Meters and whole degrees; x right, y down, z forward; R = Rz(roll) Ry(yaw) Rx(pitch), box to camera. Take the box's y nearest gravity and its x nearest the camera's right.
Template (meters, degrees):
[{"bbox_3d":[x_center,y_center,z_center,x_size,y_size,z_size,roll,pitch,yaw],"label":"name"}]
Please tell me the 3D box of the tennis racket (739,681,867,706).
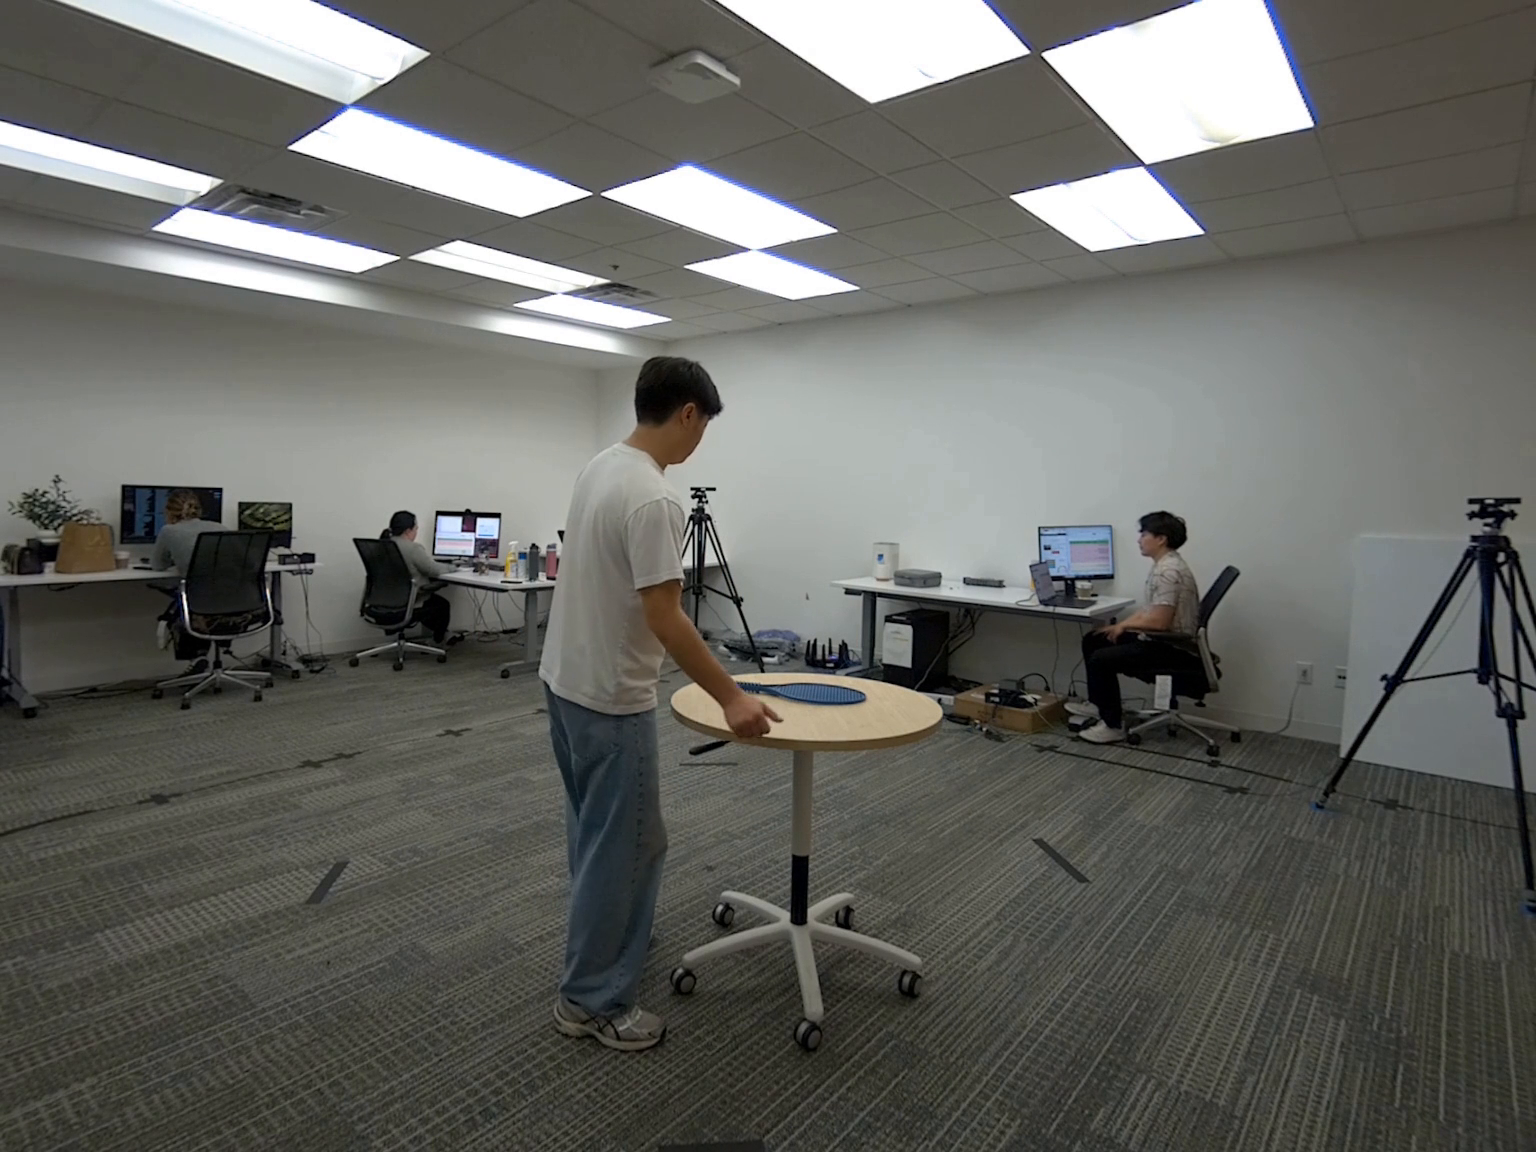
[{"bbox_3d":[0.066,0.334,2.512,0.437,0.031,0.213,3,6,7],"label":"tennis racket"}]
